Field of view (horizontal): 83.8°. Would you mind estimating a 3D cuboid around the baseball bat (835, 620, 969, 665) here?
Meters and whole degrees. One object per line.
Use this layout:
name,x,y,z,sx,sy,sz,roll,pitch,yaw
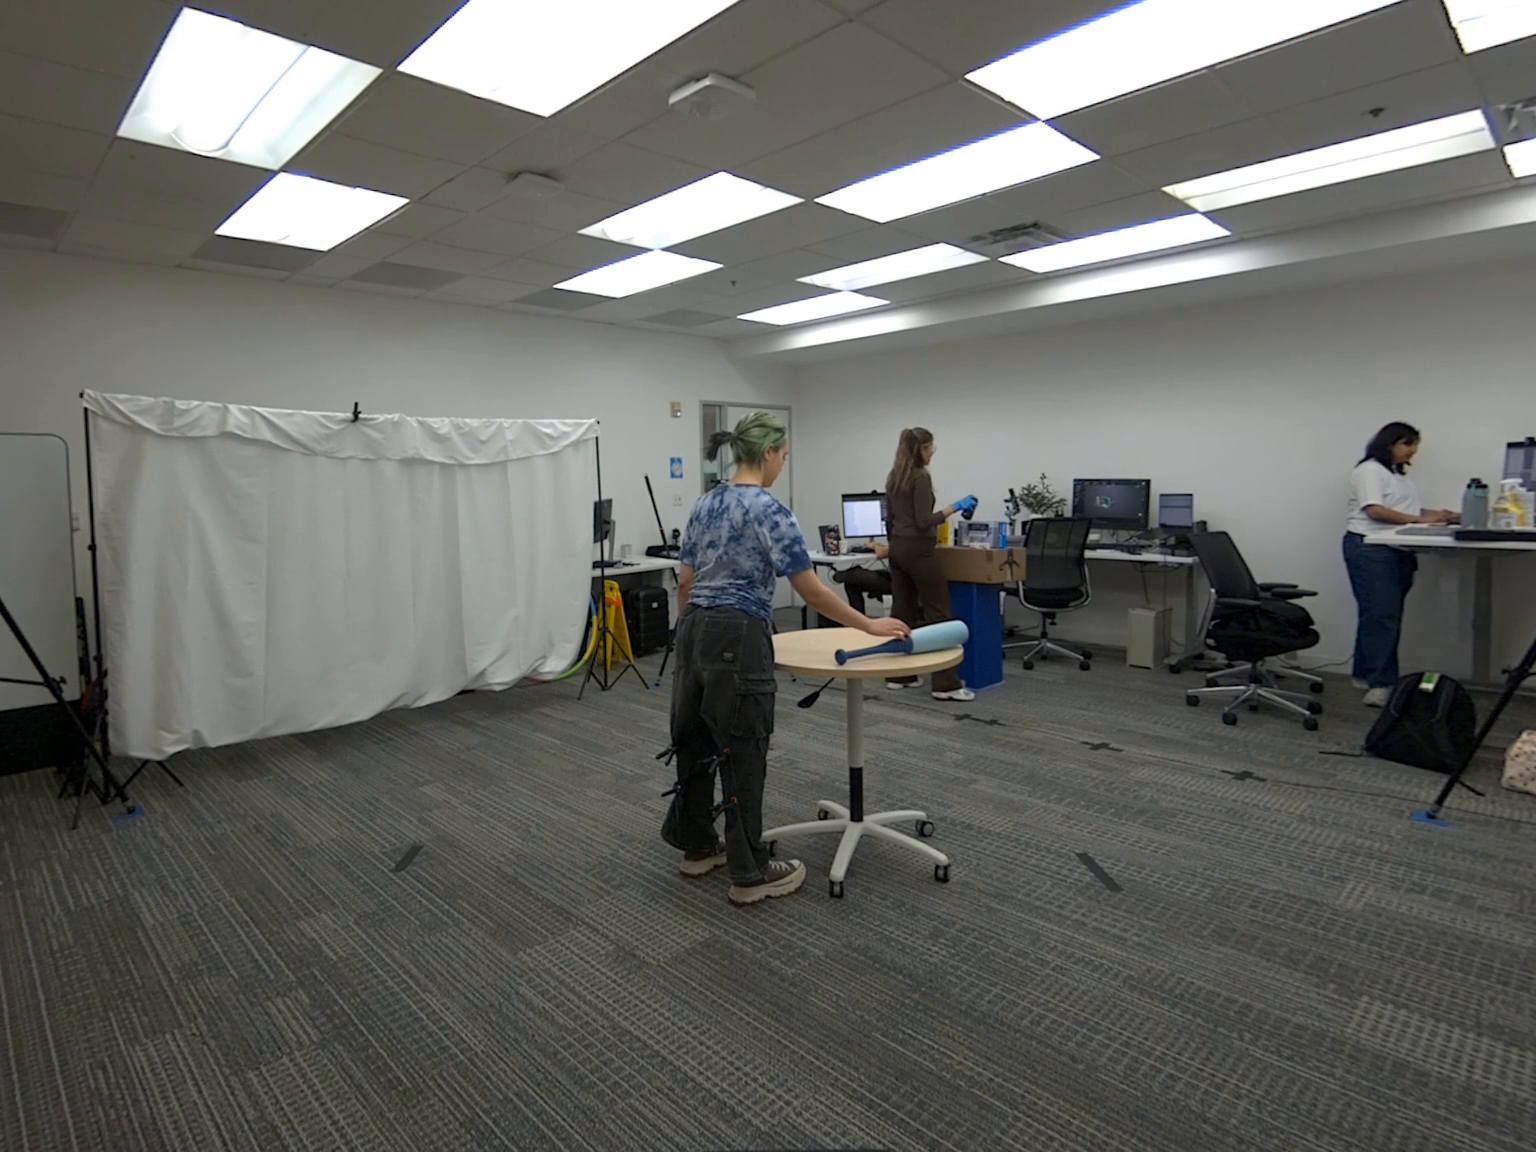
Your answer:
baseball bat,0.460,0.237,2.921,0.532,0.088,0.091,-9,8,-27
